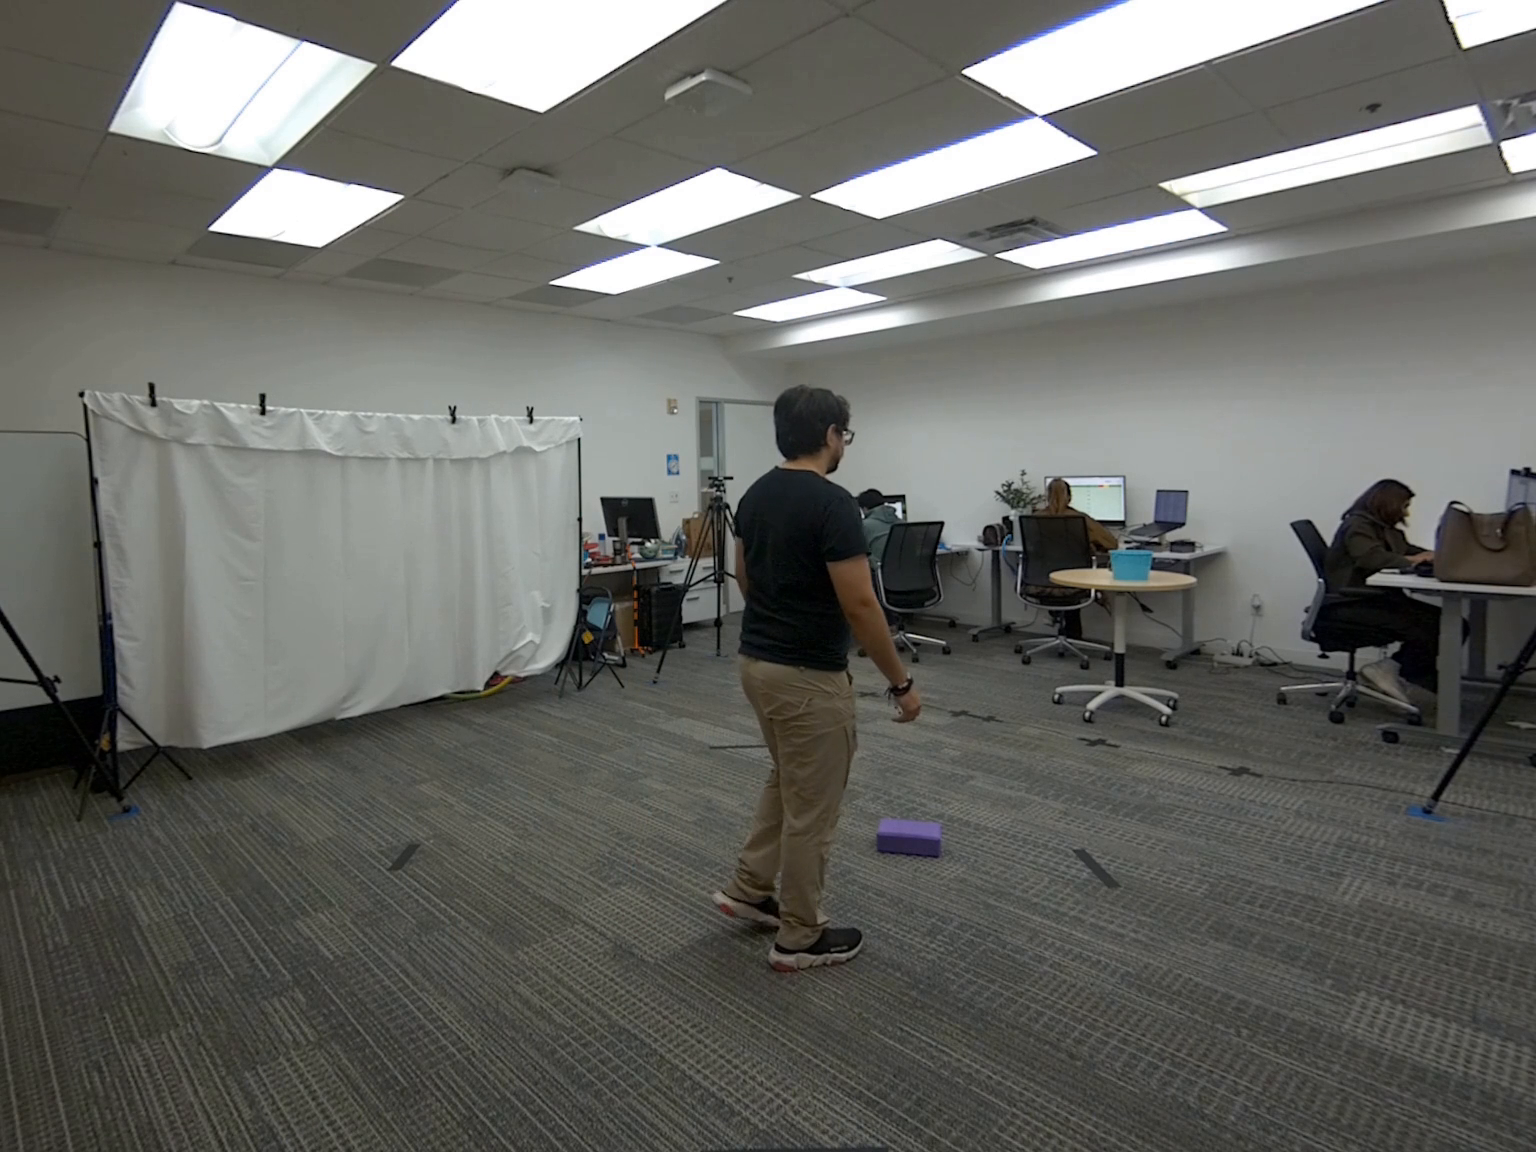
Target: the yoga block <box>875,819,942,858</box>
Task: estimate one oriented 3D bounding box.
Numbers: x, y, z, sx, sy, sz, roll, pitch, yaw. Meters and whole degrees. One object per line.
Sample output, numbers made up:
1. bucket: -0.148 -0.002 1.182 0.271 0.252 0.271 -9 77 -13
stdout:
1. yoga block: 0.533 0.976 3.192 0.233 0.076 0.147 -1 7 16
